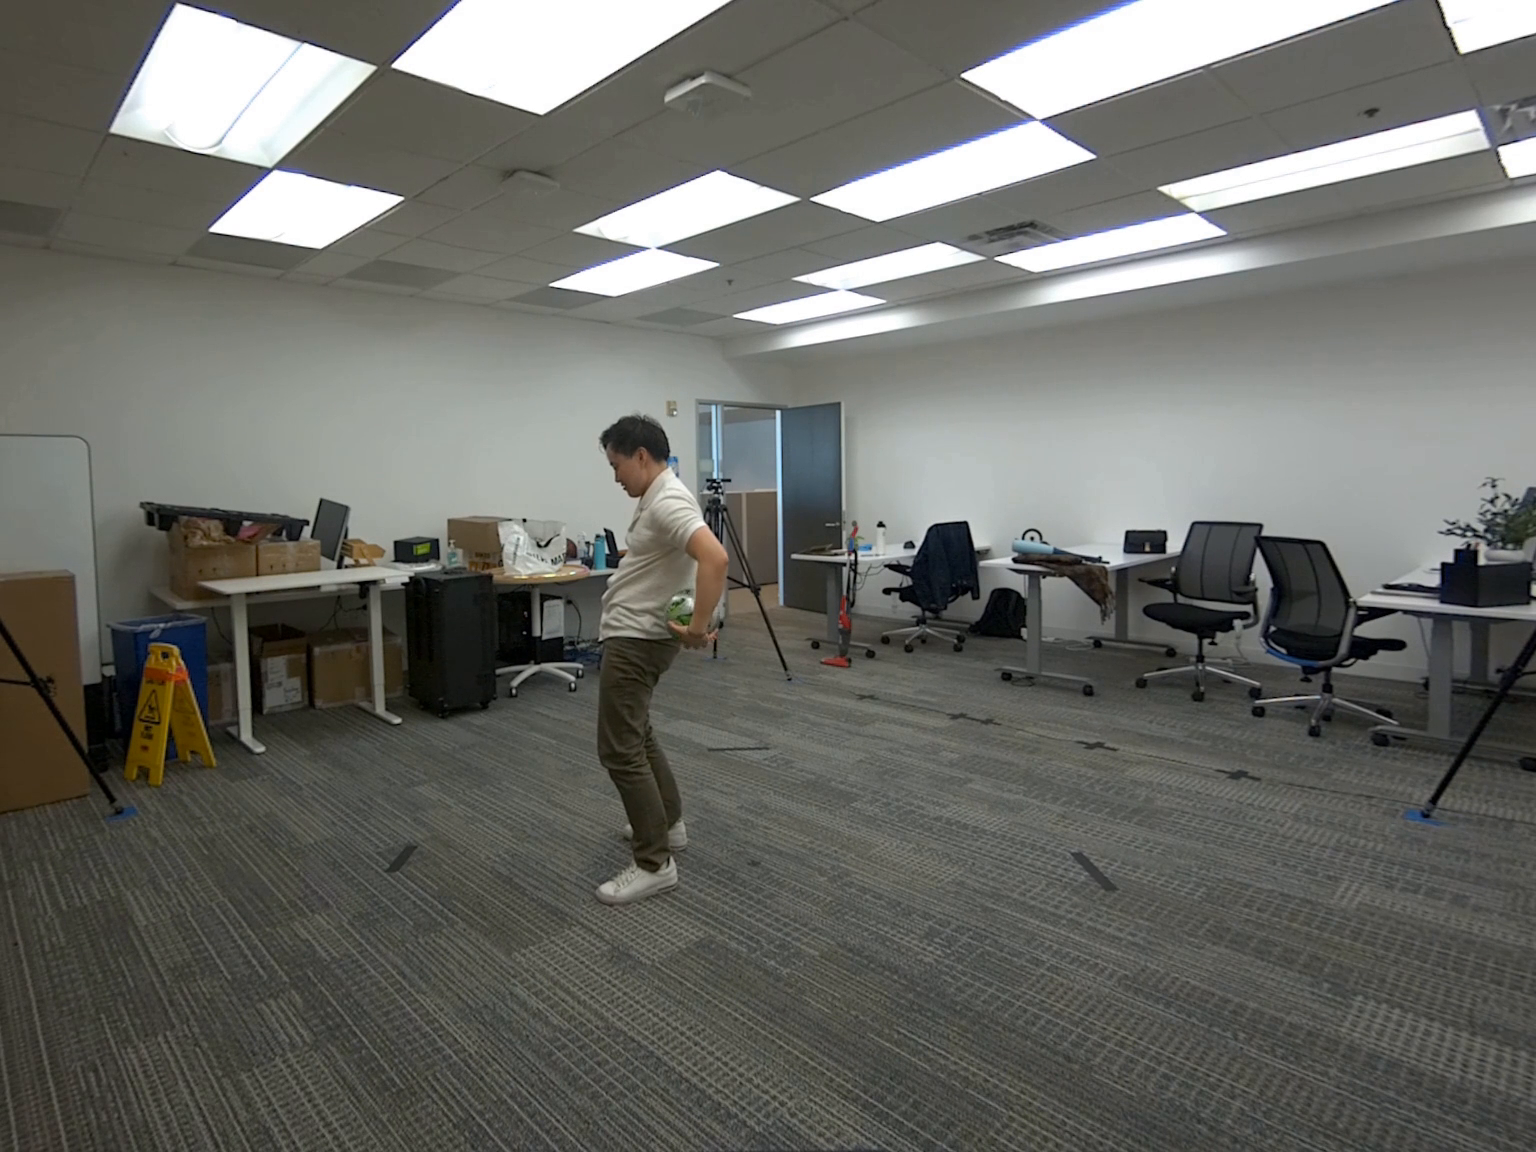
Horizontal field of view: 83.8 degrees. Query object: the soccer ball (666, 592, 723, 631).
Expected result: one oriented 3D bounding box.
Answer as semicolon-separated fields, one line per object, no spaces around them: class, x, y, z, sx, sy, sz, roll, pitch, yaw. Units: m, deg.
soccer ball;-0.247;0.130;2.831;0.187;0.187;0.188;-1;5;-2
